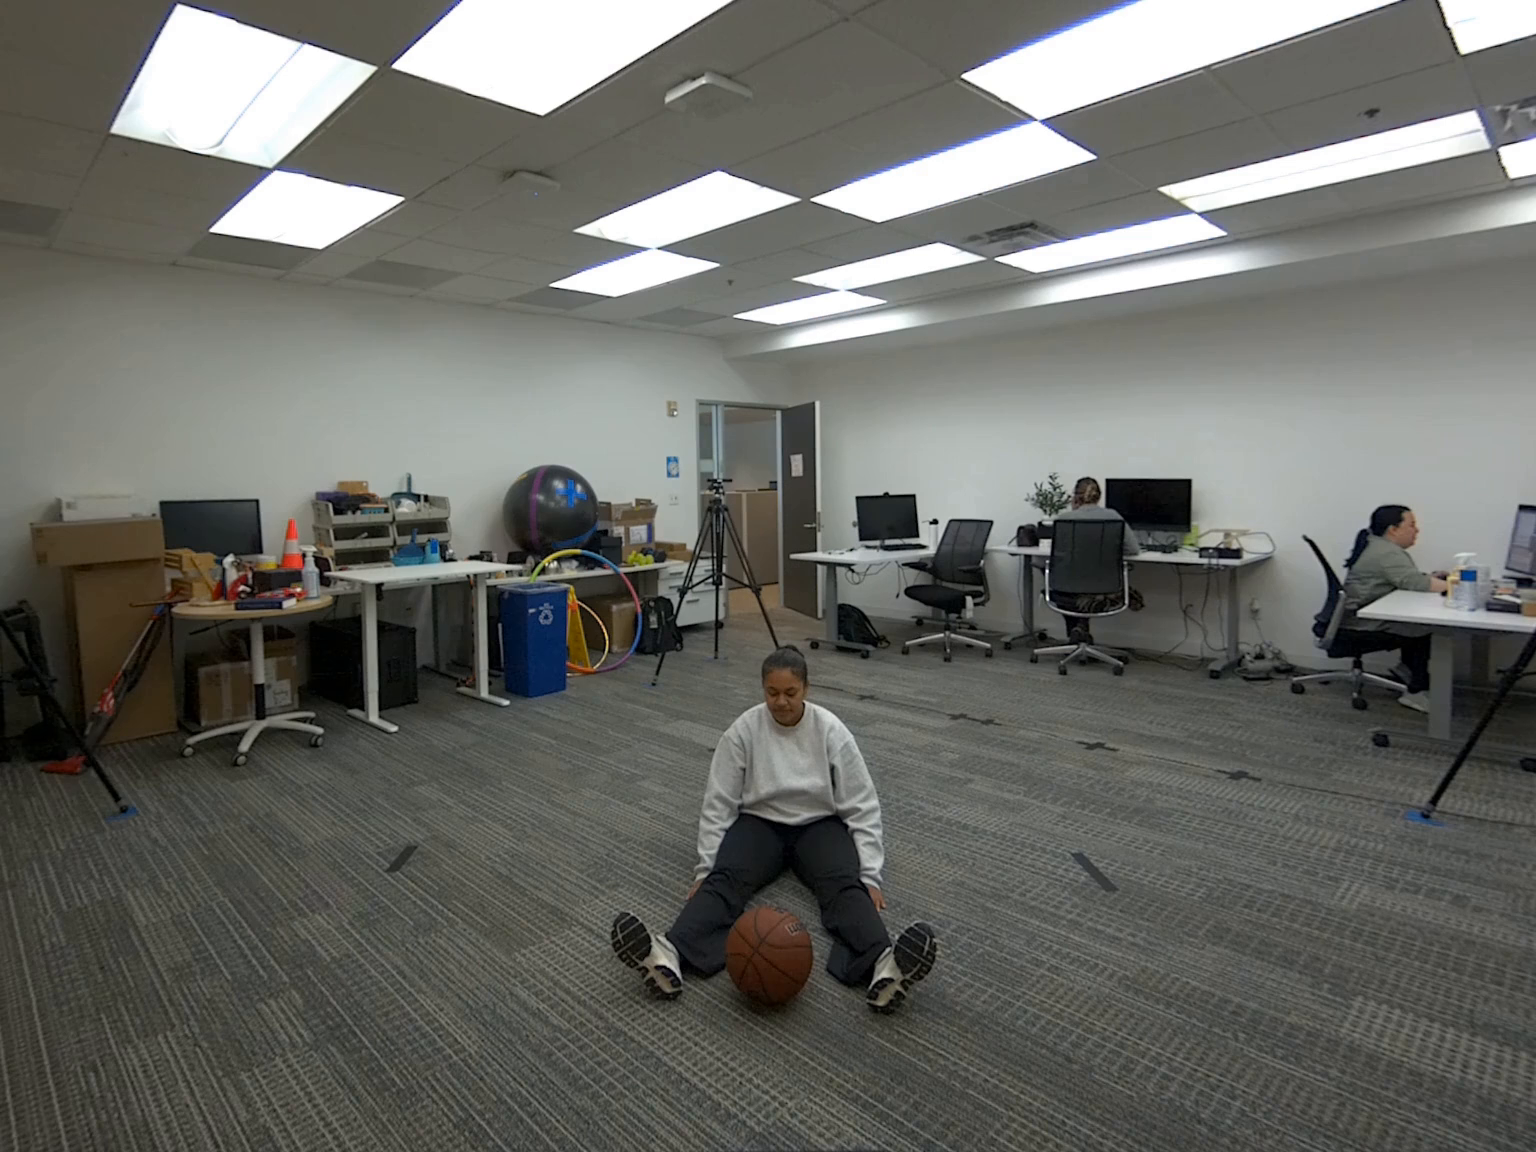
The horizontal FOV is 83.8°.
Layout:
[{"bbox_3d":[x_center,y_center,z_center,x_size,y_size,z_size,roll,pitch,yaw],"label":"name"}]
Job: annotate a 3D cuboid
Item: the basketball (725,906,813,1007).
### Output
[{"bbox_3d":[0.016,1.024,2.301,0.236,0.235,0.237,-1,5,-2],"label":"basketball"}]
